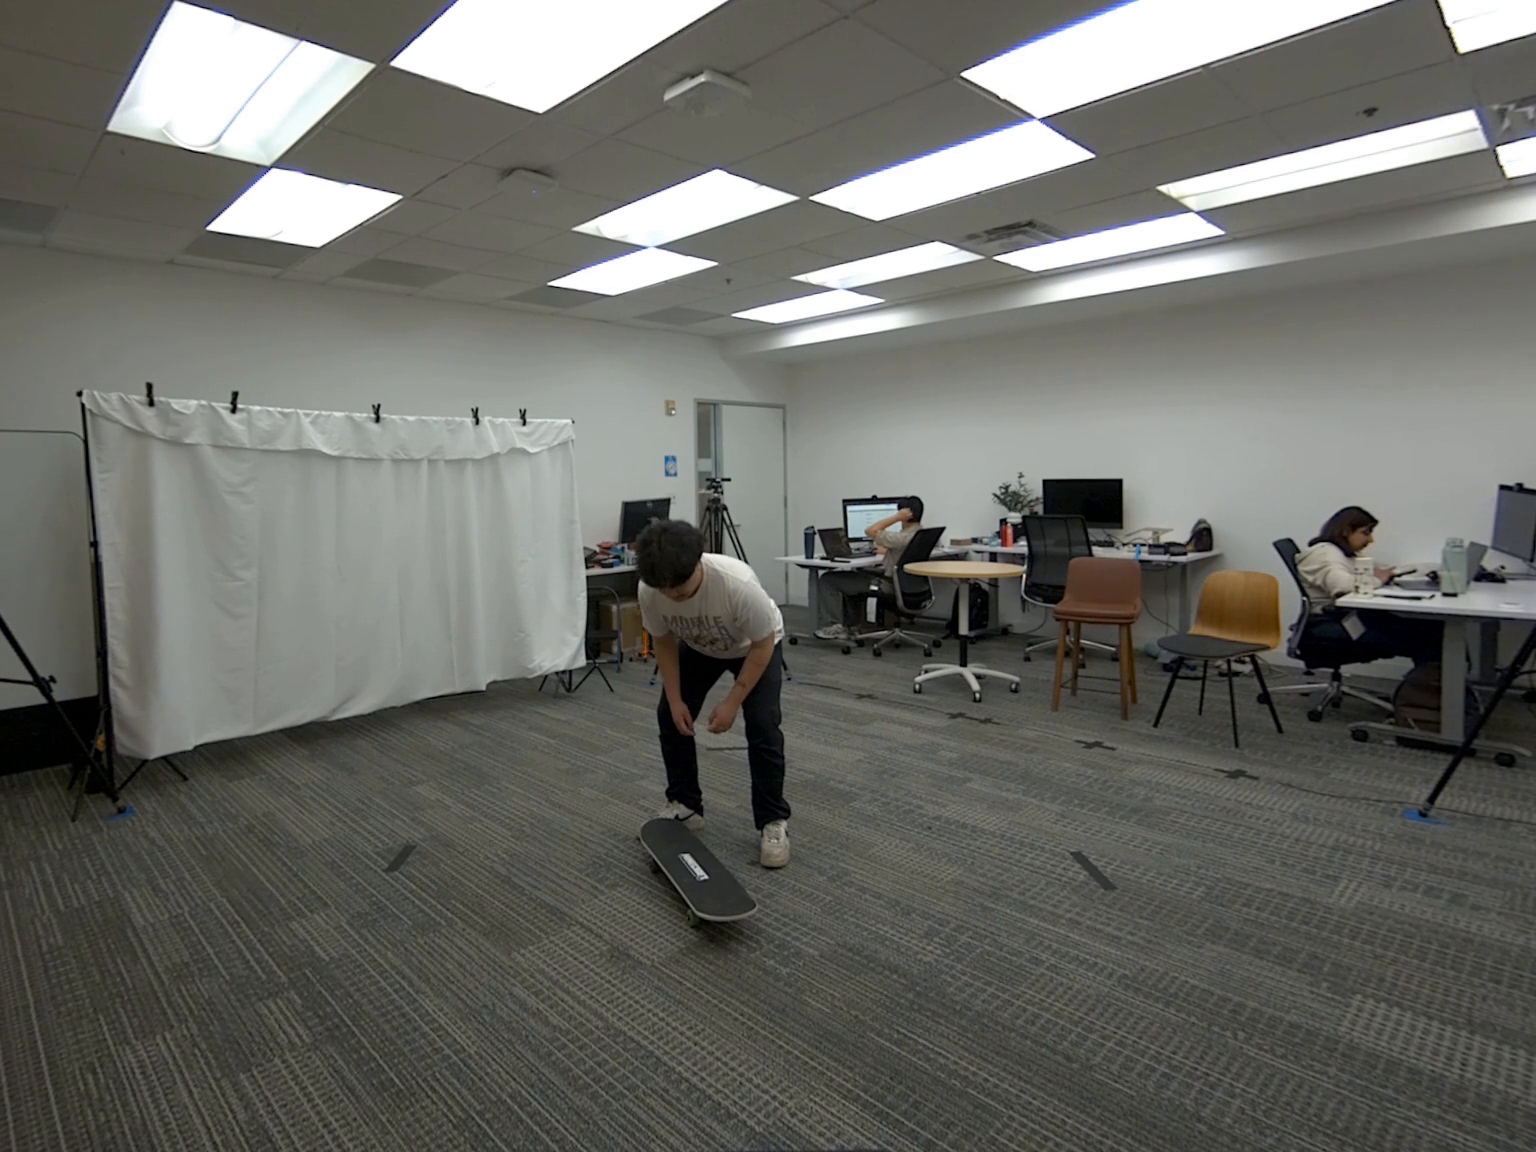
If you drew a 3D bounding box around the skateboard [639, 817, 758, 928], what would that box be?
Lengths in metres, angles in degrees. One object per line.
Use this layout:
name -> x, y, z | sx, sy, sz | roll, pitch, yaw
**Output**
skateboard -> -0.245, 1.021, 2.885 | 0.190, 0.110, 0.804 | -4, 7, -24
